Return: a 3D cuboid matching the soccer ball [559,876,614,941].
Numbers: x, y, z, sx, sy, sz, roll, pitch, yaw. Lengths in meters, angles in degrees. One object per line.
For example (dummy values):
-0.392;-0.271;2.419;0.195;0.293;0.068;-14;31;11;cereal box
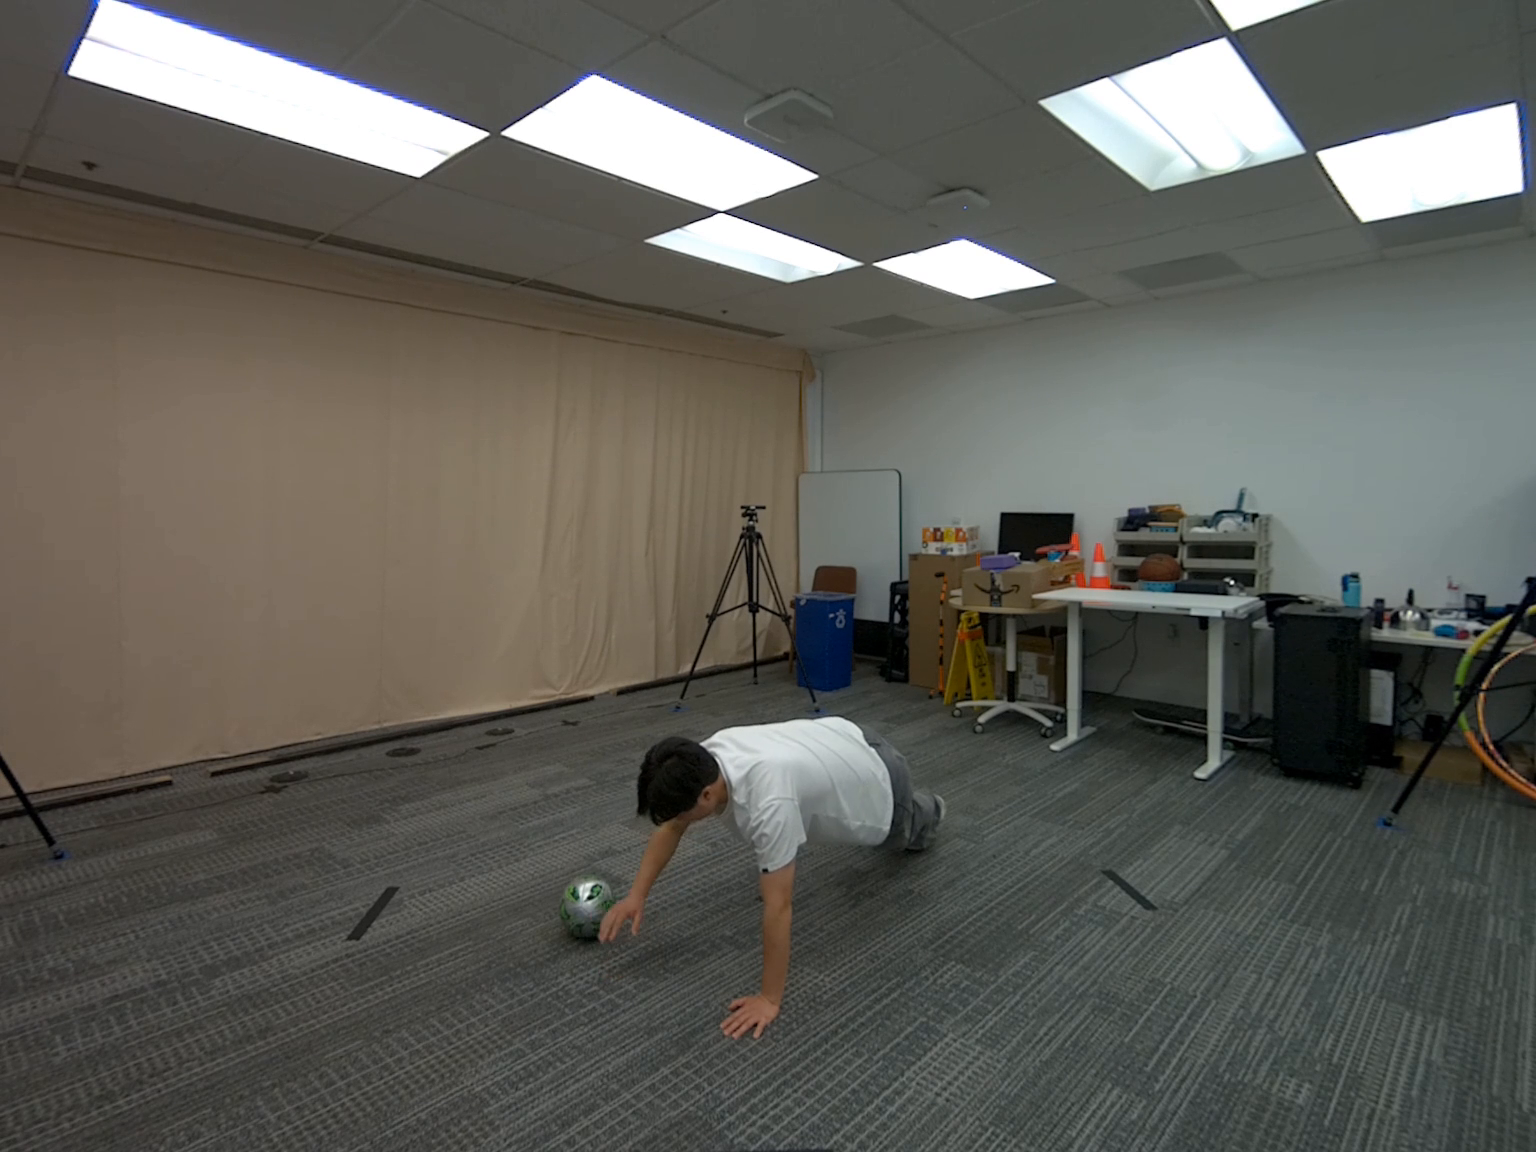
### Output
-0.579;1.081;2.738;0.187;0.187;0.188;0;4;-2;soccer ball
